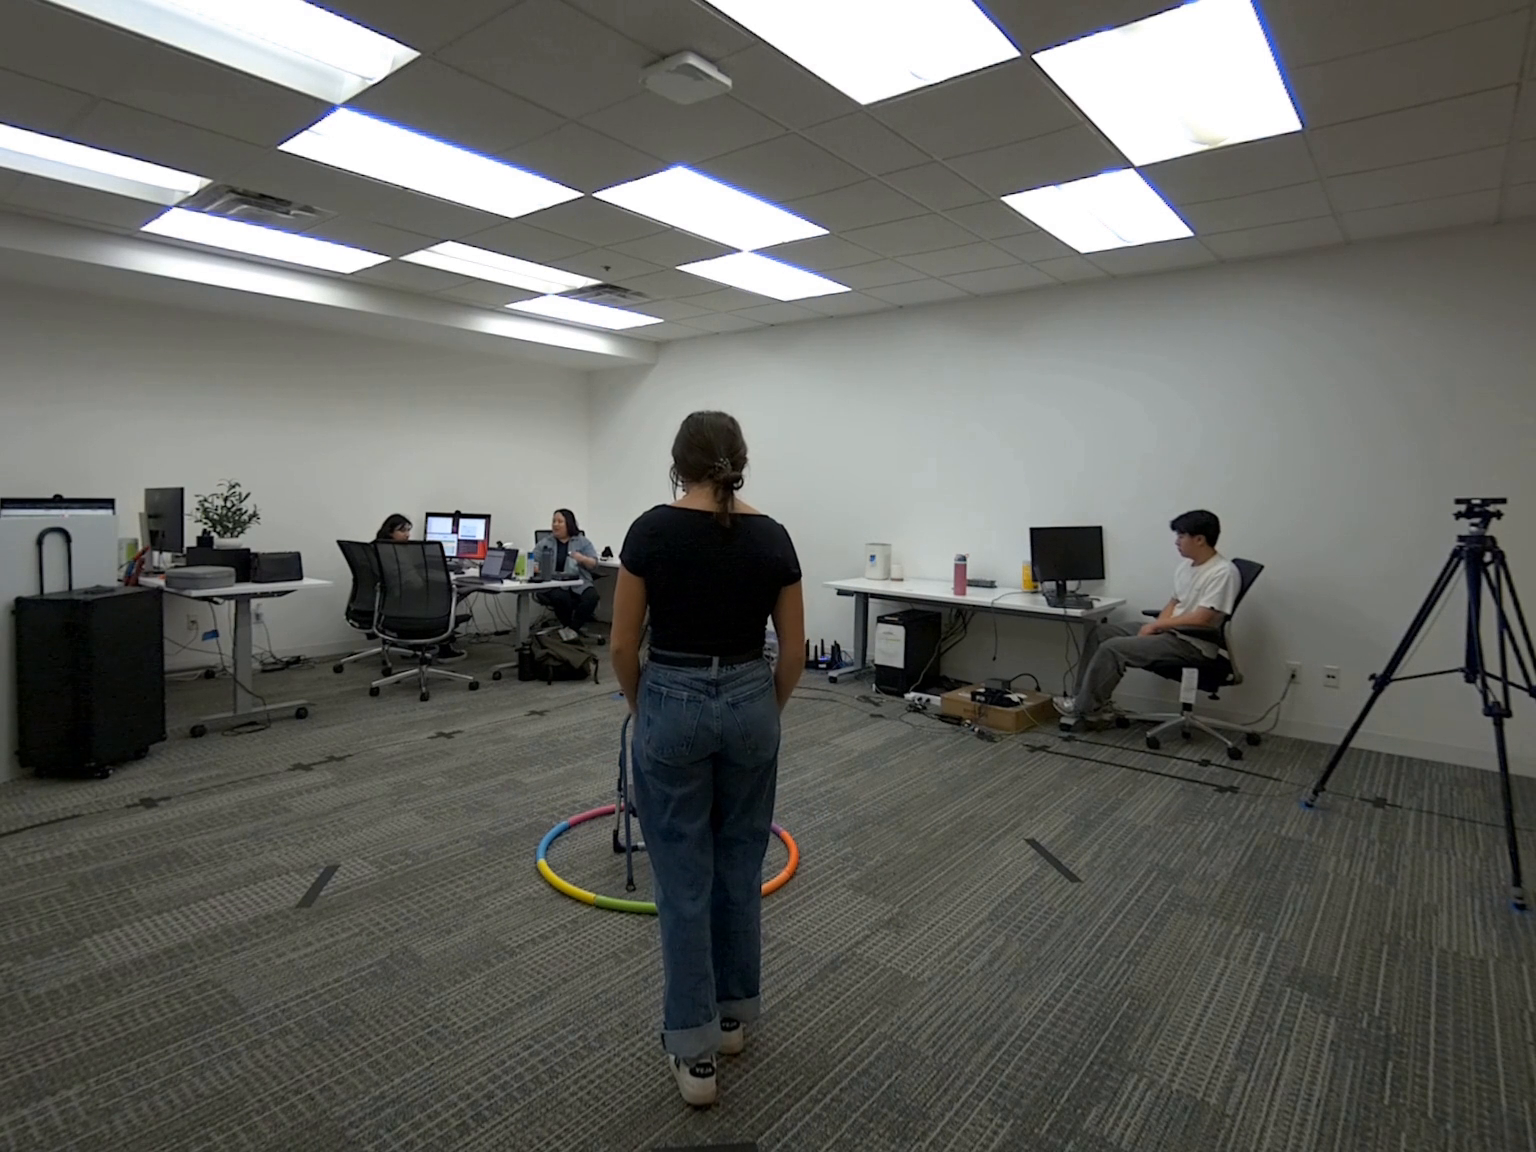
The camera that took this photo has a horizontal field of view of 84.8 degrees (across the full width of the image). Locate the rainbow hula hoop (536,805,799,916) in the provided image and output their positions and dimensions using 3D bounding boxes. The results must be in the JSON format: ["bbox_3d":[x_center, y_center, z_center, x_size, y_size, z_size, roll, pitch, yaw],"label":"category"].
[{"bbox_3d":[-0.378,1.021,3.242,0.978,0.035,0.984,1,6,-2],"label":"rainbow hula hoop"}]
